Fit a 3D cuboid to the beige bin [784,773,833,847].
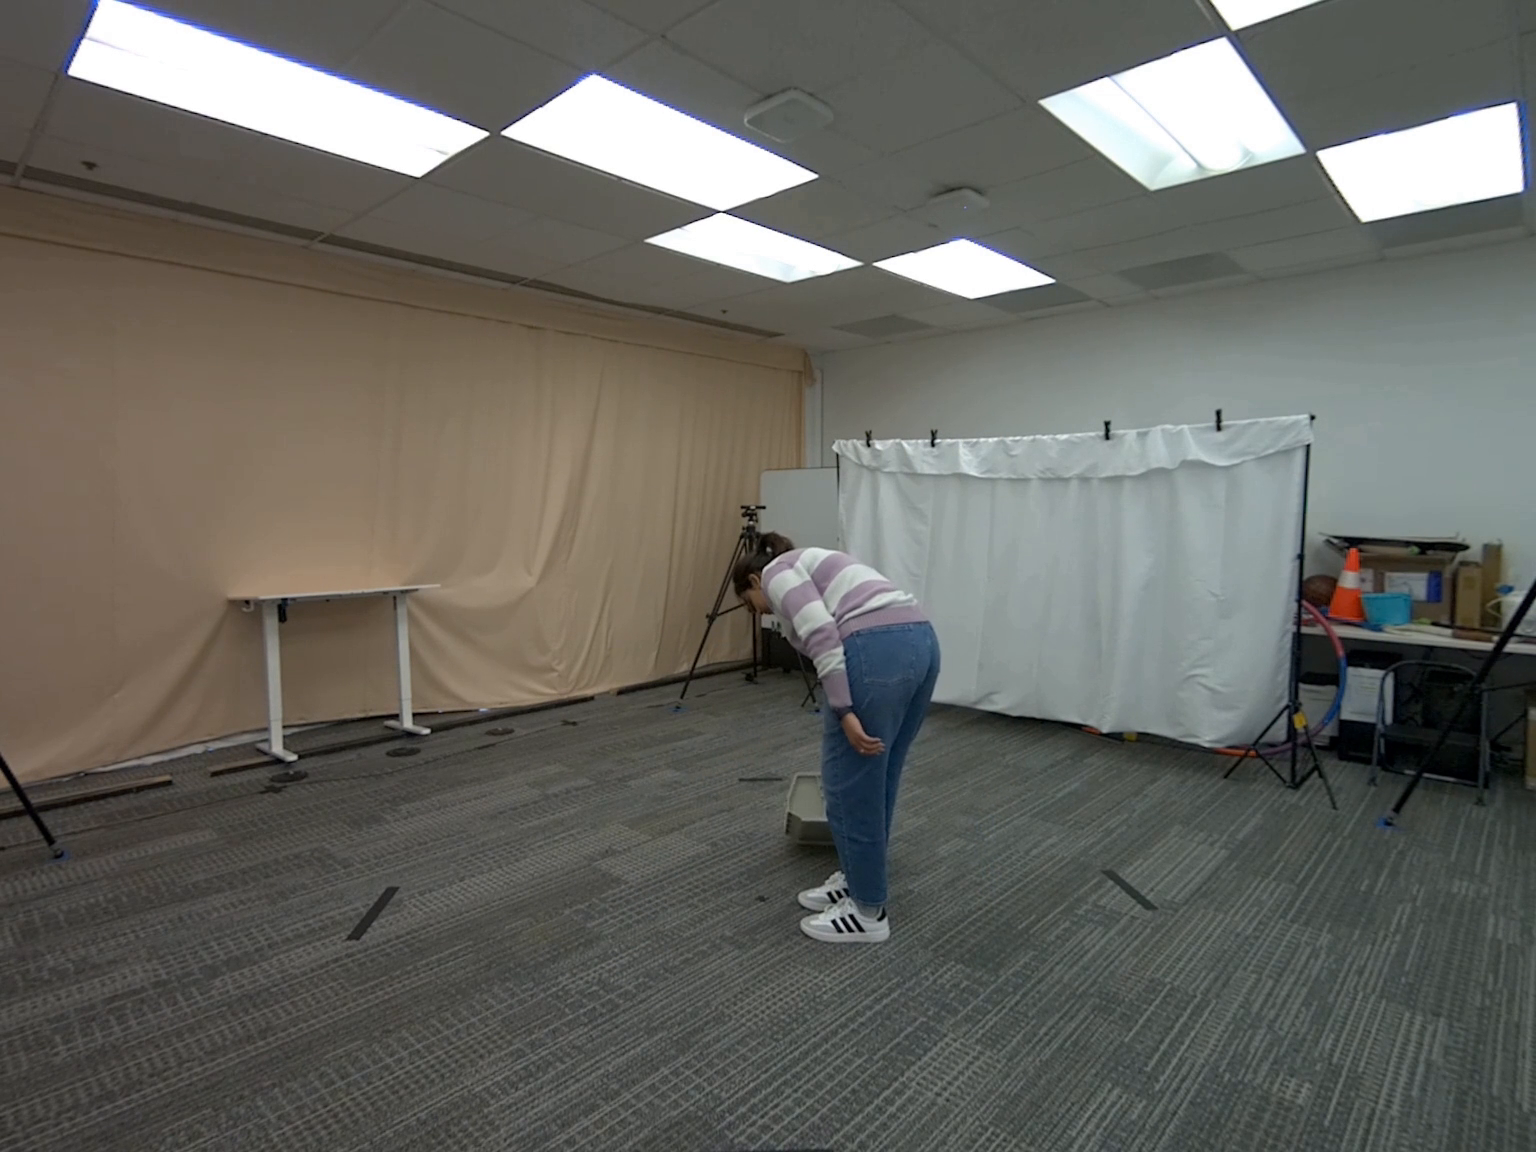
[{"bbox_3d":[0.253,0.925,3.317,0.378,0.192,0.415,2,-30,2],"label":"beige bin"}]
